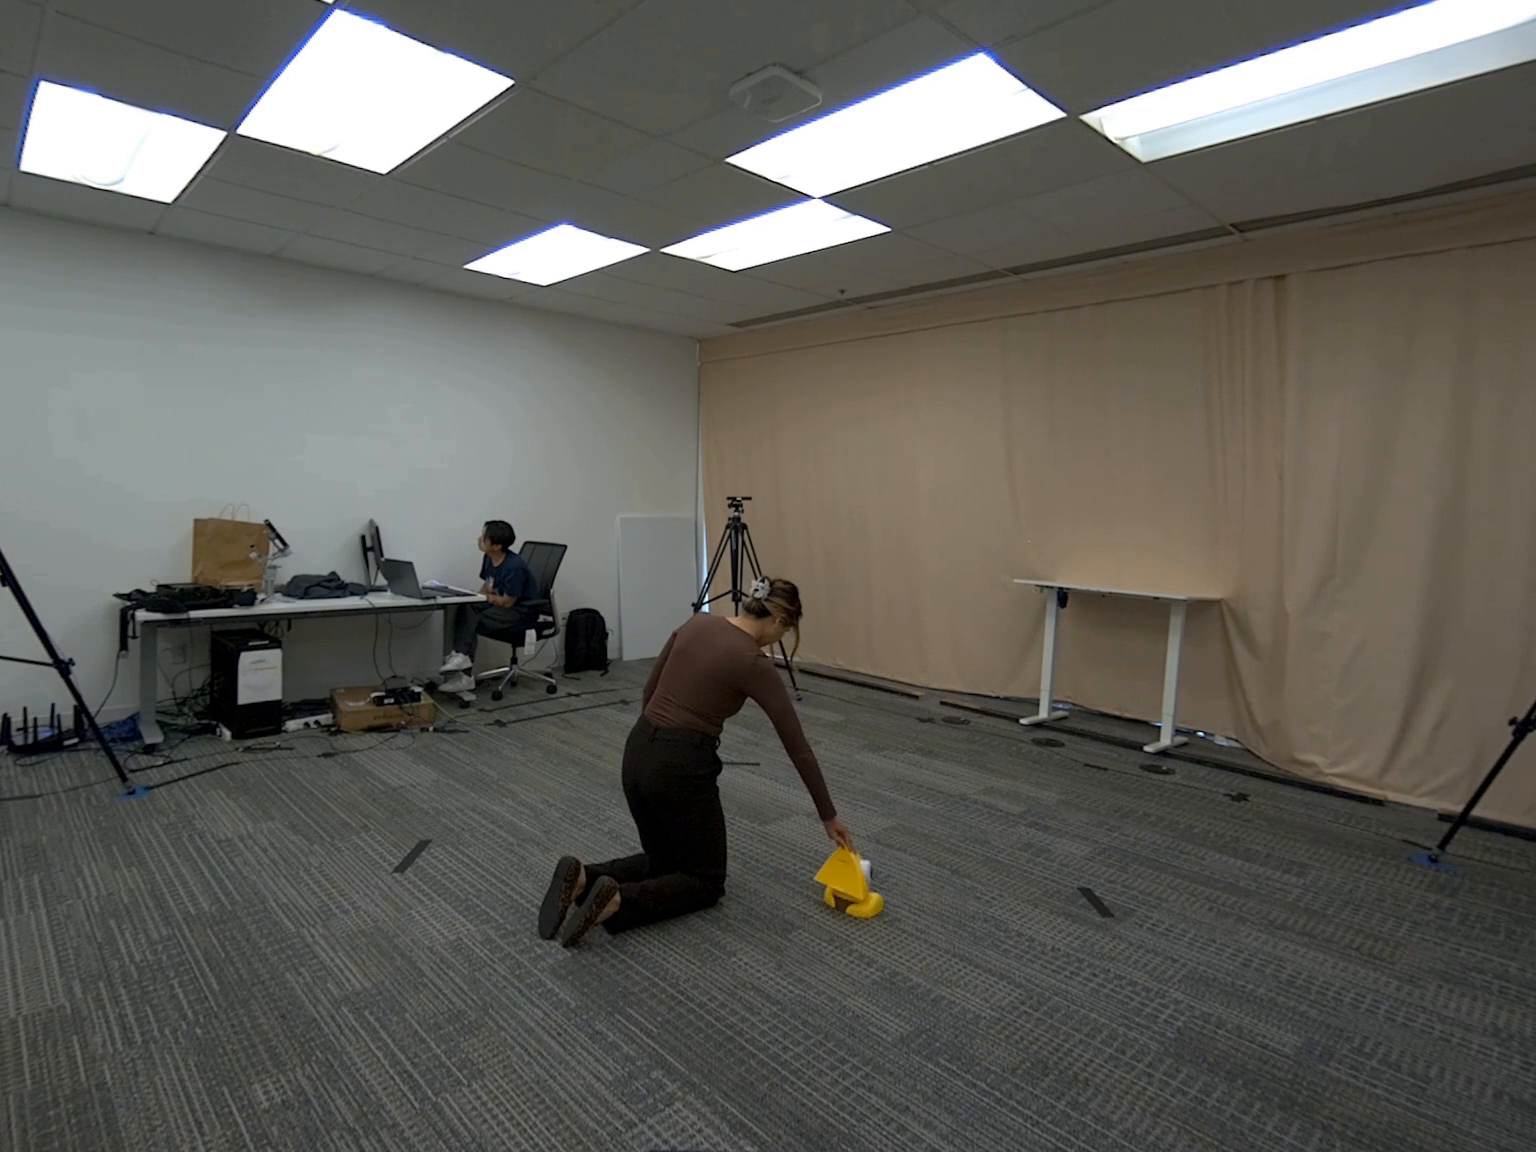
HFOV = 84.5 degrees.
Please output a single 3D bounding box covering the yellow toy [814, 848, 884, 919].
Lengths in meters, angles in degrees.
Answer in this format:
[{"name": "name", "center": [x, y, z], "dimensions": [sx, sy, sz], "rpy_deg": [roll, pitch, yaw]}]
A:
[{"name": "yellow toy", "center": [0.285, 1.020, 2.901], "dimensions": [0.210, 0.230, 0.188], "rpy_deg": [5, 4, 43]}]
